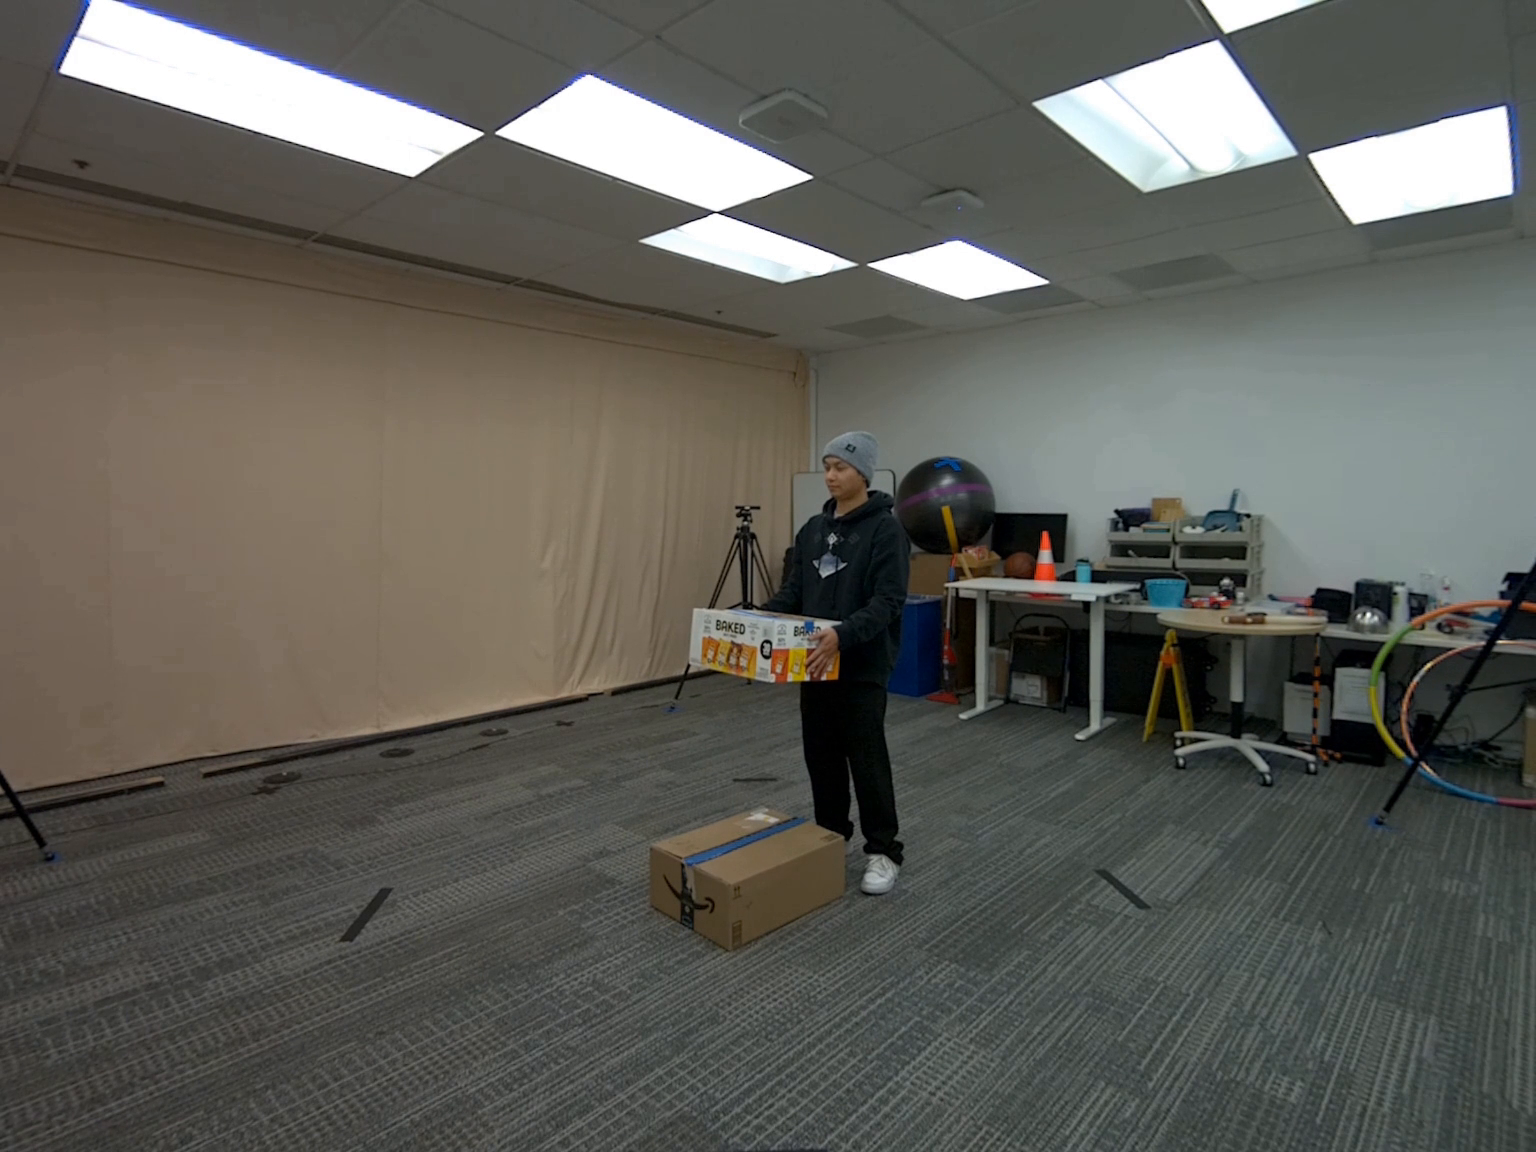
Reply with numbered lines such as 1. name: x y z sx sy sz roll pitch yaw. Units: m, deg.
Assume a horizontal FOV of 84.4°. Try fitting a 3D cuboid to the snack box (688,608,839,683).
1. snack box: -0.010 0.240 2.964 0.329 0.206 0.419 5 0 -43
